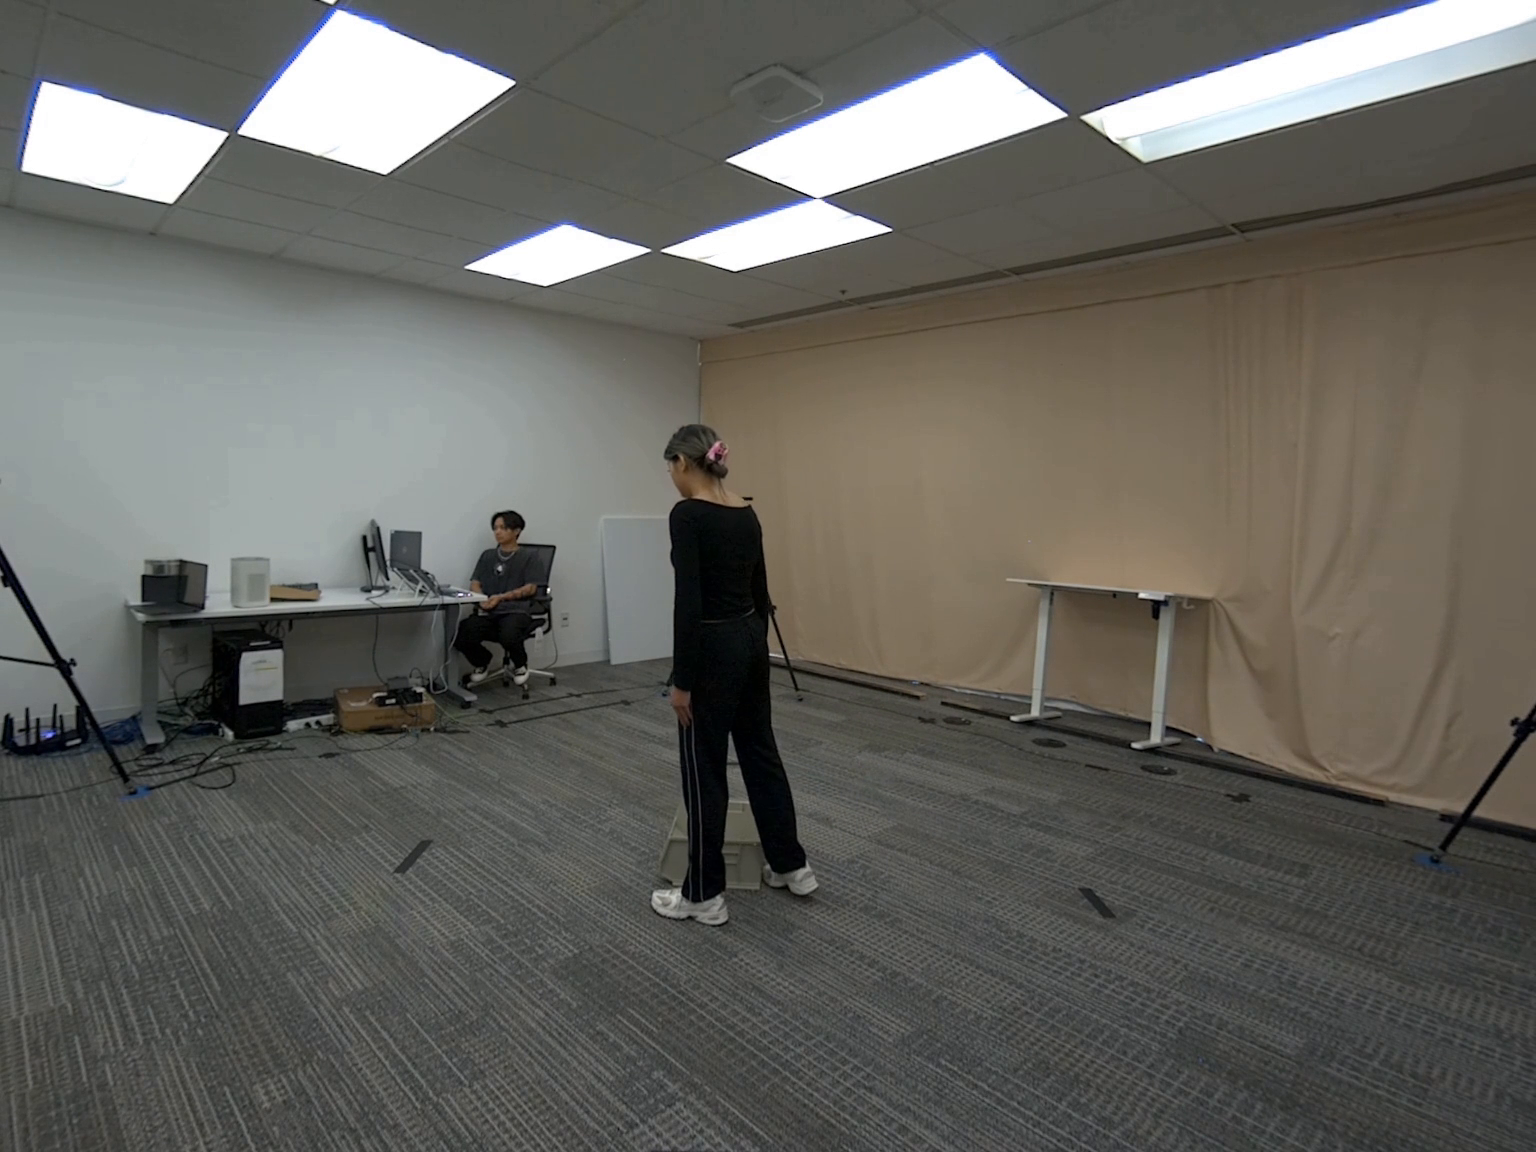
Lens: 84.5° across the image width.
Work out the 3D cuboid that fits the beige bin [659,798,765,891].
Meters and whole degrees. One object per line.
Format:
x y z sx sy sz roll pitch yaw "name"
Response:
-0.208 1.011 3.206 0.378 0.188 0.423 2 4 1 "beige bin"
